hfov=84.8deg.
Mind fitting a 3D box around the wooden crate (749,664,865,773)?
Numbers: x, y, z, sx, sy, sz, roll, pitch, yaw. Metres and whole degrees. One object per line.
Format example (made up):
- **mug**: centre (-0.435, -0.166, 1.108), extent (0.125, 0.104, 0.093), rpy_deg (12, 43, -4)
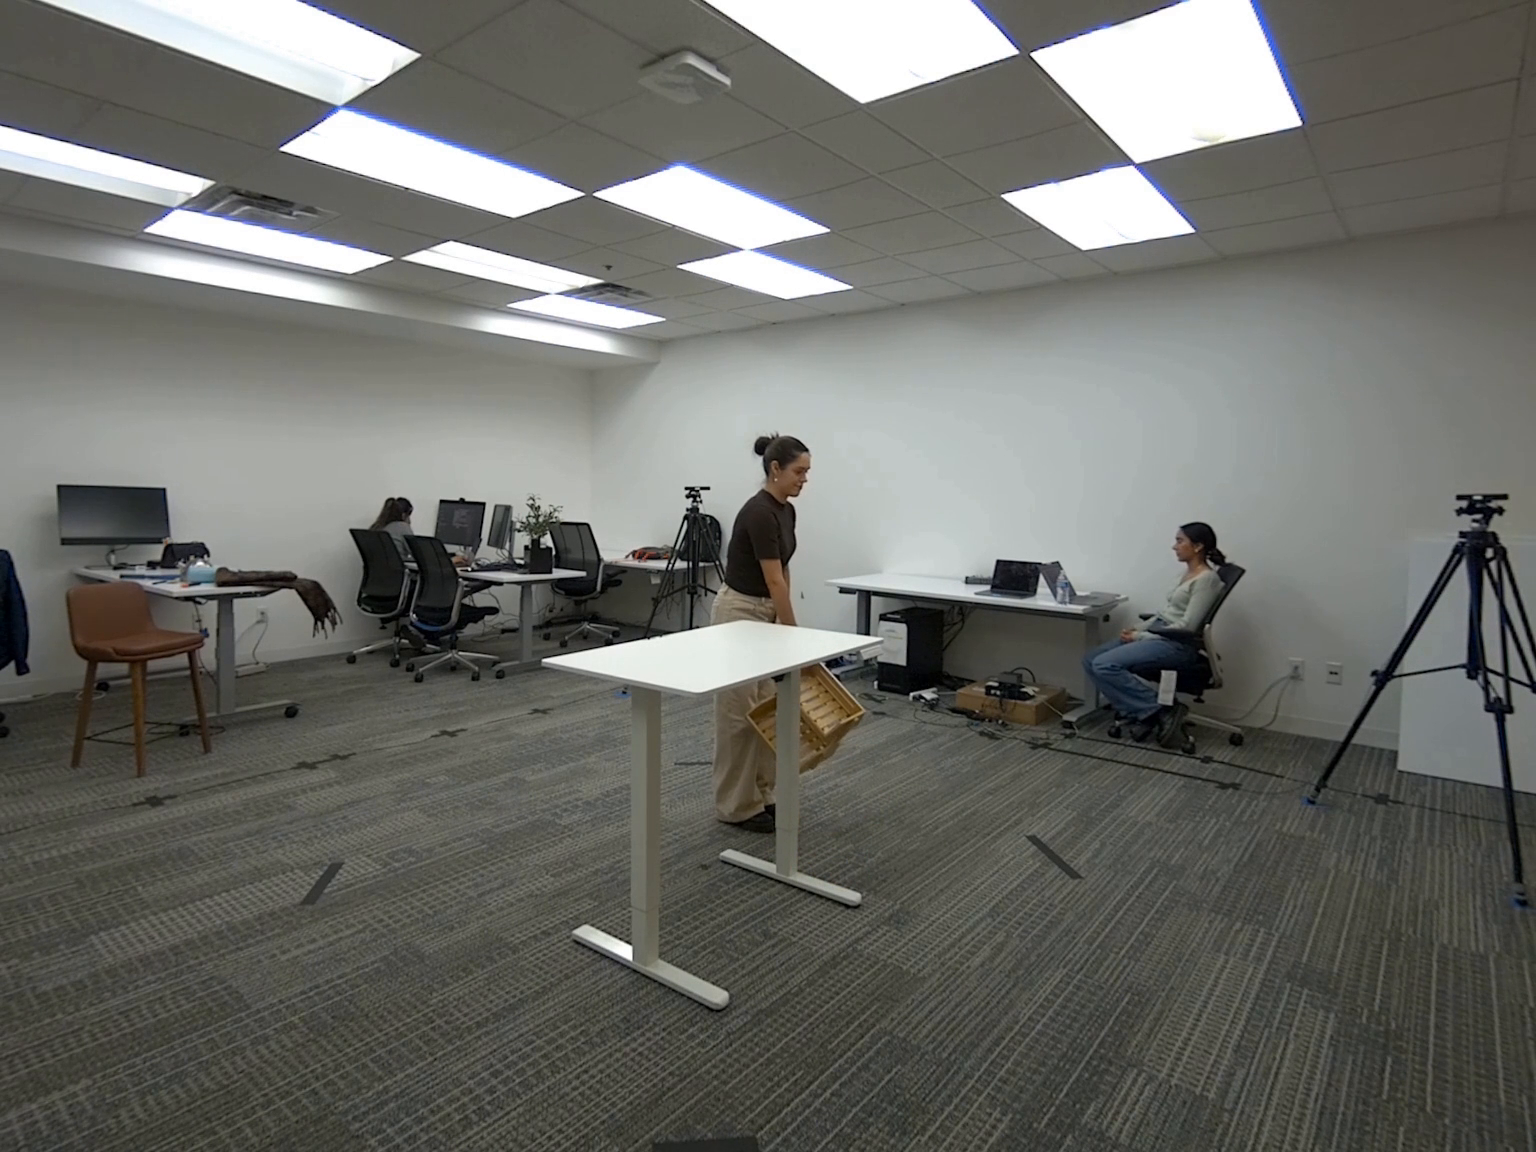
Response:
- **wooden crate**: centre (0.129, 0.546, 3.332), extent (0.295, 0.269, 0.337), rpy_deg (-17, 51, -39)
